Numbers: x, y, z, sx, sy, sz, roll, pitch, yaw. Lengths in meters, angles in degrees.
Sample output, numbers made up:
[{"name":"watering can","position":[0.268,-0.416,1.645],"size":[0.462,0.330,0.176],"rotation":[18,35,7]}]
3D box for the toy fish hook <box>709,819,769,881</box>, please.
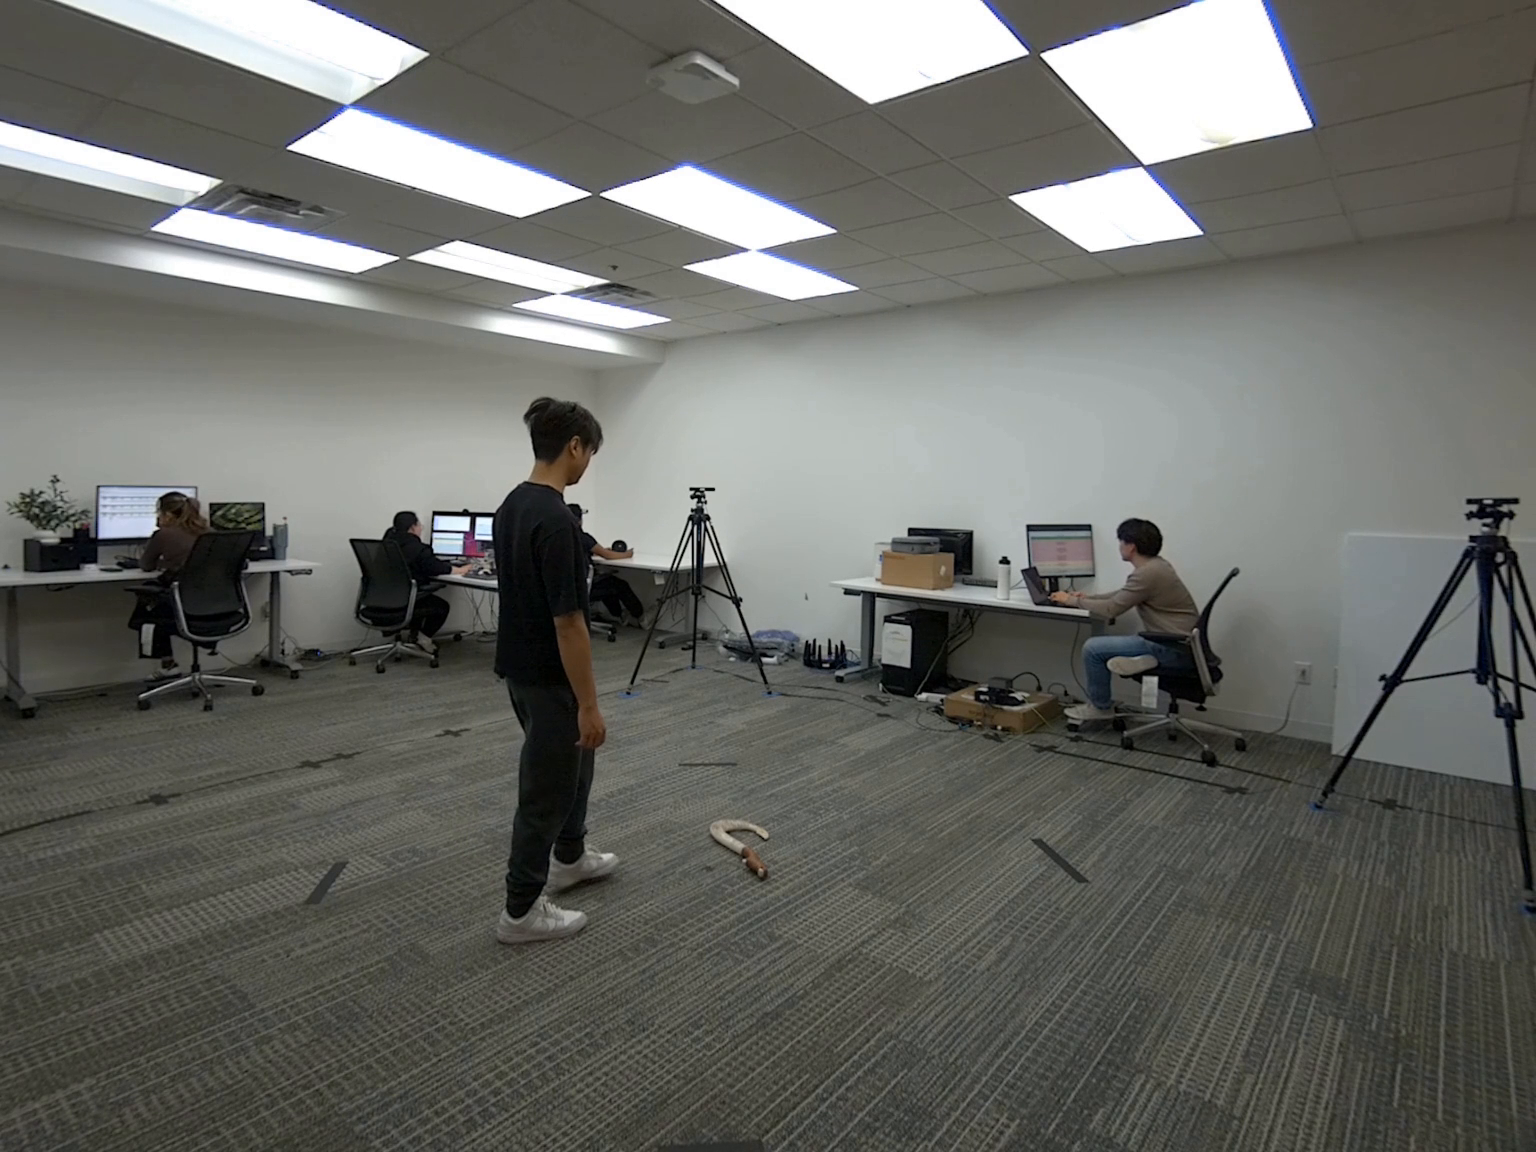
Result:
[{"name":"toy fish hook","position":[-0.070,1.030,3.268],"size":[0.220,0.048,0.520],"rotation":[-2,7,-23]}]
